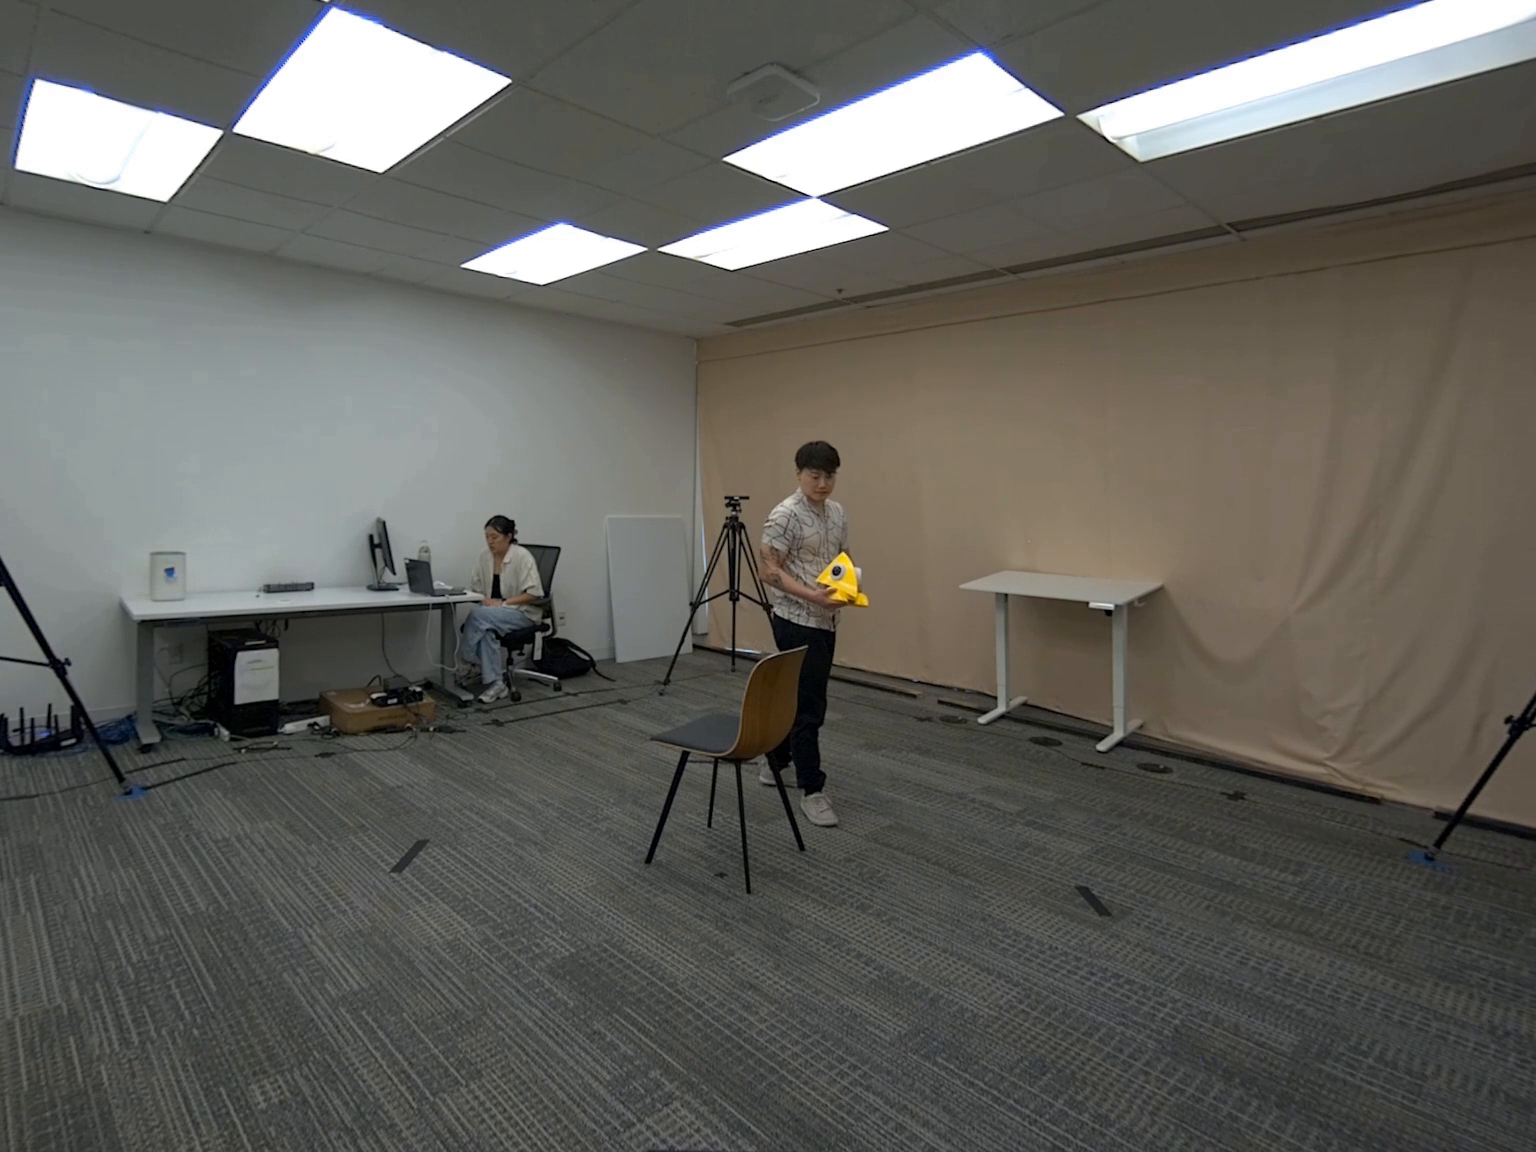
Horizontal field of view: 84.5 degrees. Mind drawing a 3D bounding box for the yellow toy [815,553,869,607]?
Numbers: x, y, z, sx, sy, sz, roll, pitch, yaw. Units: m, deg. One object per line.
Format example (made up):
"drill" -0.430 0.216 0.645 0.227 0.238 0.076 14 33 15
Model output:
"yellow toy" 0.330 0.005 3.684 0.200 0.232 0.196 14 -8 -25
